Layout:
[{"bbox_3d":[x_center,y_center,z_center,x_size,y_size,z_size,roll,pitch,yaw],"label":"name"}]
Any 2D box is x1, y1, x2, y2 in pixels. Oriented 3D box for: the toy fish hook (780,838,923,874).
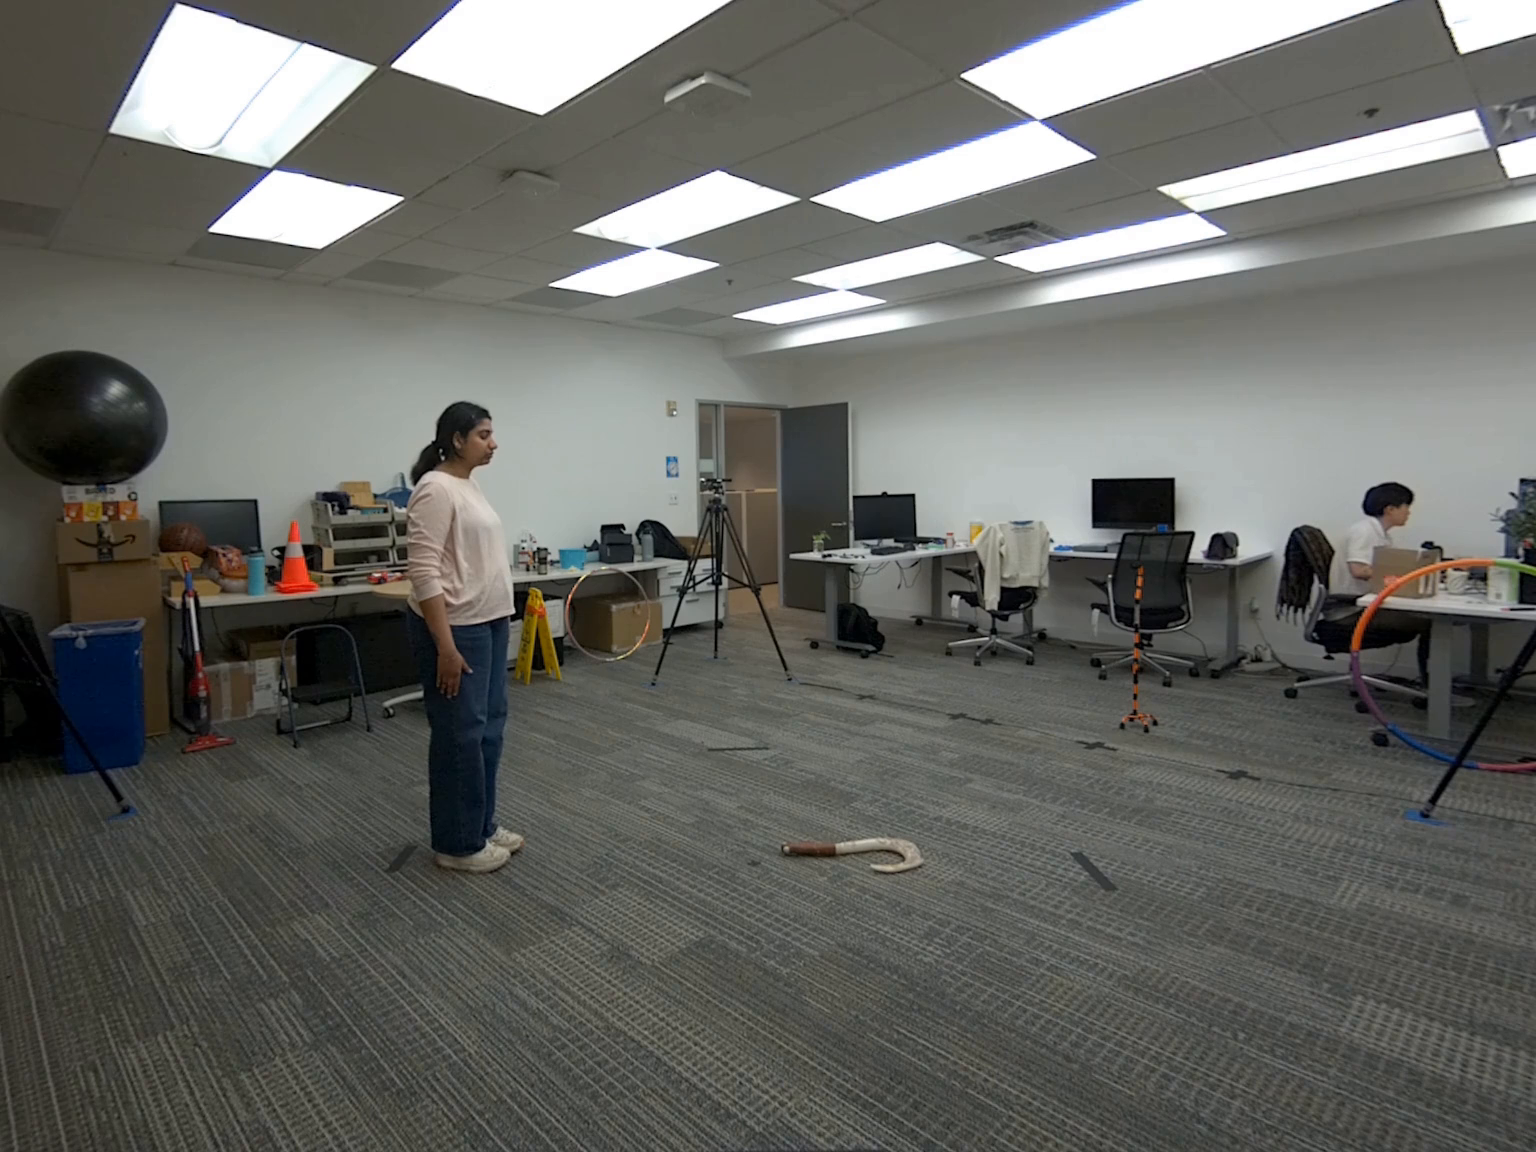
[{"bbox_3d":[0.304,1.007,3.107,0.507,0.048,0.225,-1,5,0],"label":"toy fish hook"}]
